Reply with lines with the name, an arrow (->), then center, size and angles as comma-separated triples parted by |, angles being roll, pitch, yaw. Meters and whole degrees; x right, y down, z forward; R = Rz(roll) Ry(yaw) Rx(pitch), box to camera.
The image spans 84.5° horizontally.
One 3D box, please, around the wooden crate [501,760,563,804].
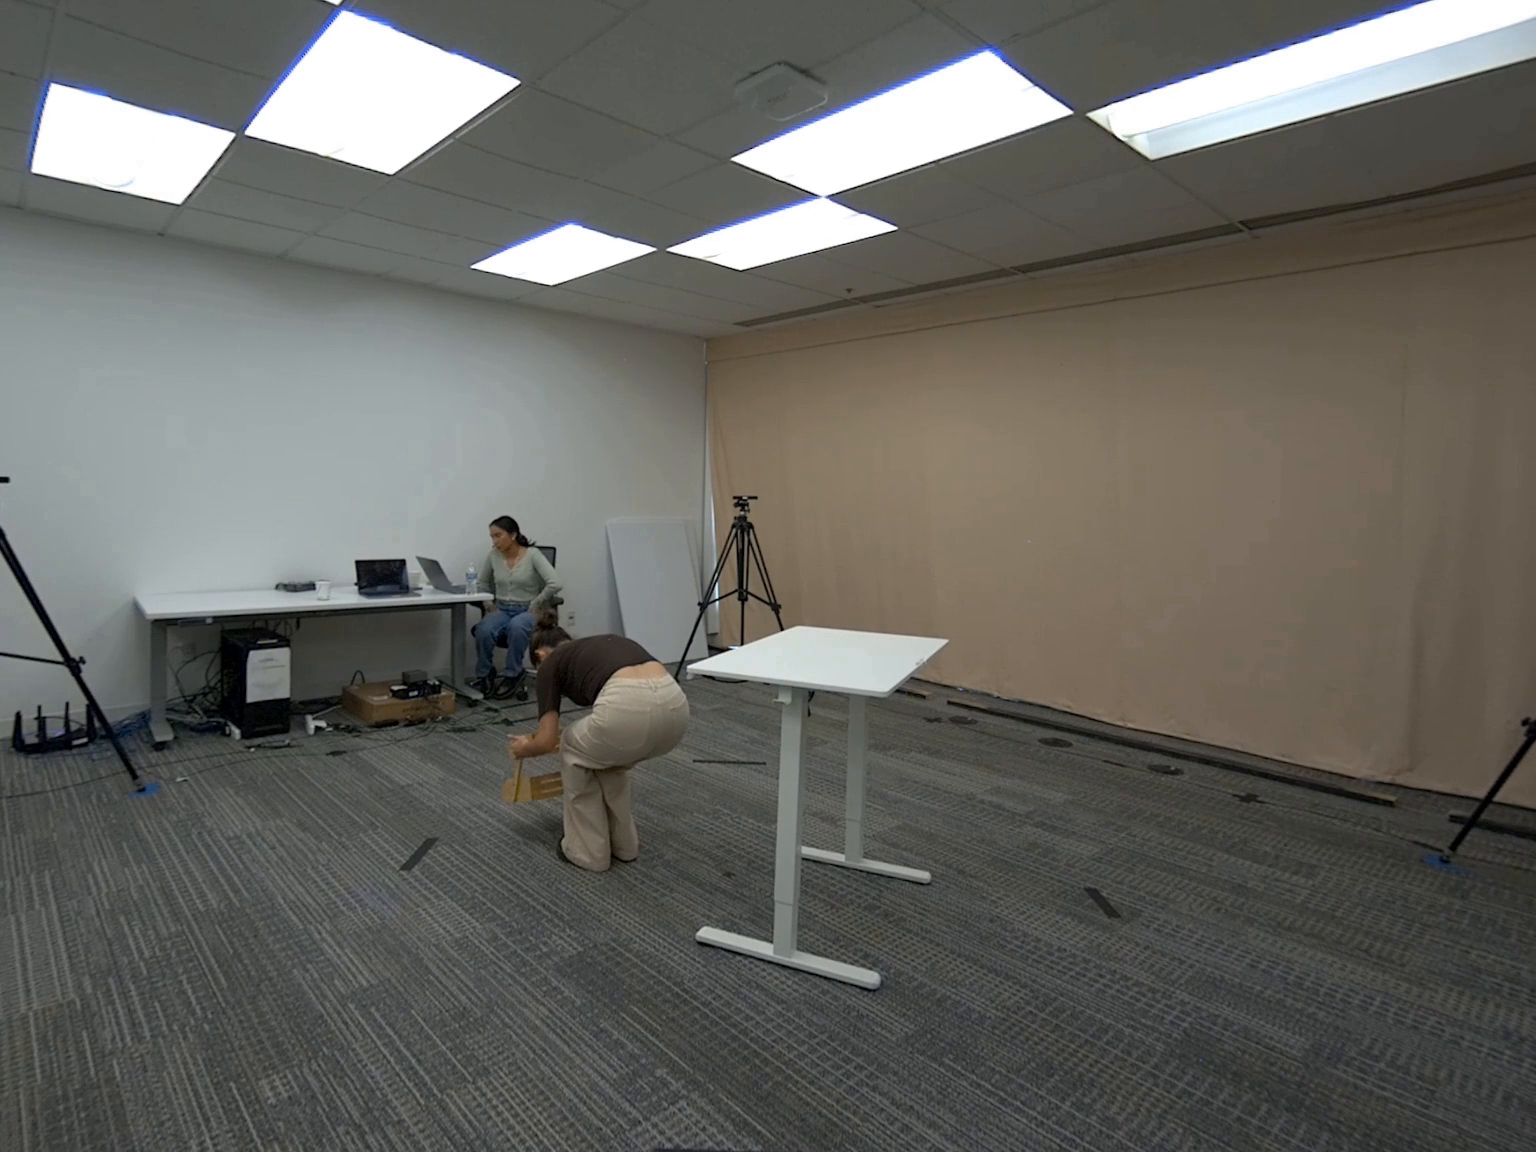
wooden crate -> -0.921, 0.774, 3.479 | 0.316, 0.276, 0.307 | 1, -13, -45
